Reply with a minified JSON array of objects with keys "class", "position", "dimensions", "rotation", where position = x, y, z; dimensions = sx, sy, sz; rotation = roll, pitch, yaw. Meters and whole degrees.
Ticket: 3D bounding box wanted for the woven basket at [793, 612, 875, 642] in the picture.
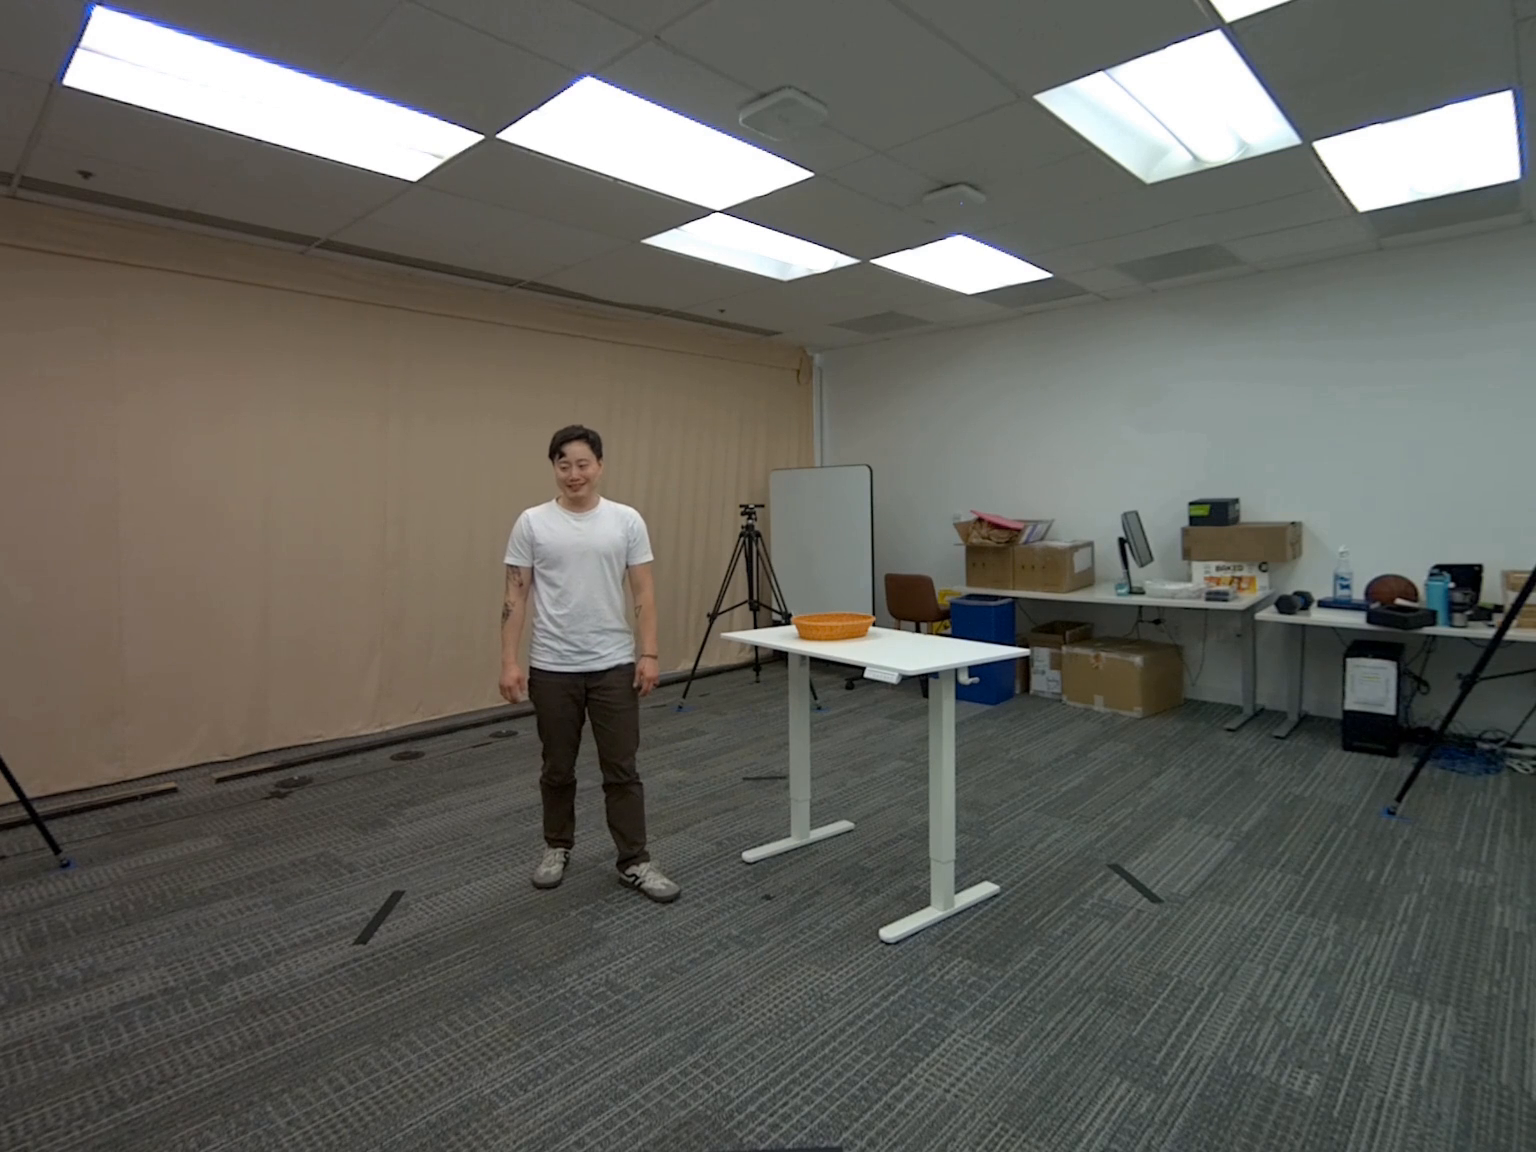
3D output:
[{"class":"woven basket","position":[0.260,0.204,3.231],"dimensions":[0.341,0.073,0.259],"rotation":[-3,5,-28]}]
